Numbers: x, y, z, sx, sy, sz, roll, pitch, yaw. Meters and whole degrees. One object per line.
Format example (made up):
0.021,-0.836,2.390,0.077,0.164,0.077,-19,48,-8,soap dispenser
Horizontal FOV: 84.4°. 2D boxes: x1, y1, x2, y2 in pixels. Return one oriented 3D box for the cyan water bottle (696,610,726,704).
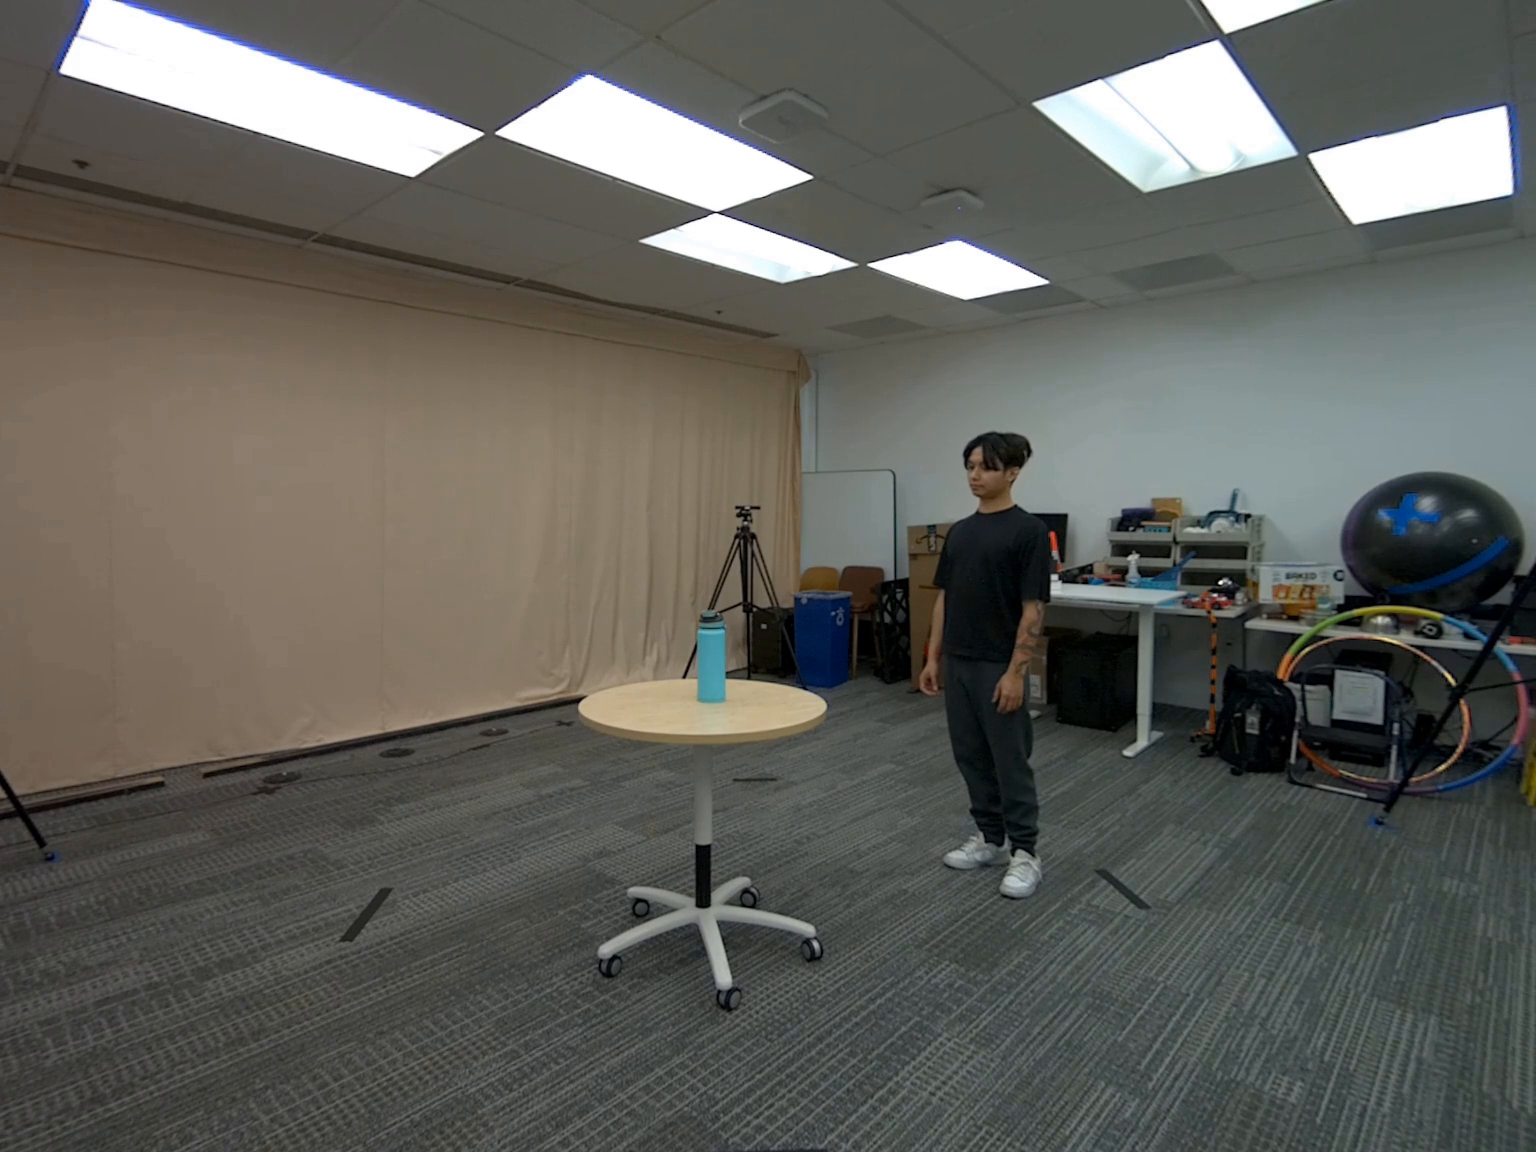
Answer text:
-0.176,0.254,2.645,0.092,0.283,0.092,1,0,-2,cyan water bottle
